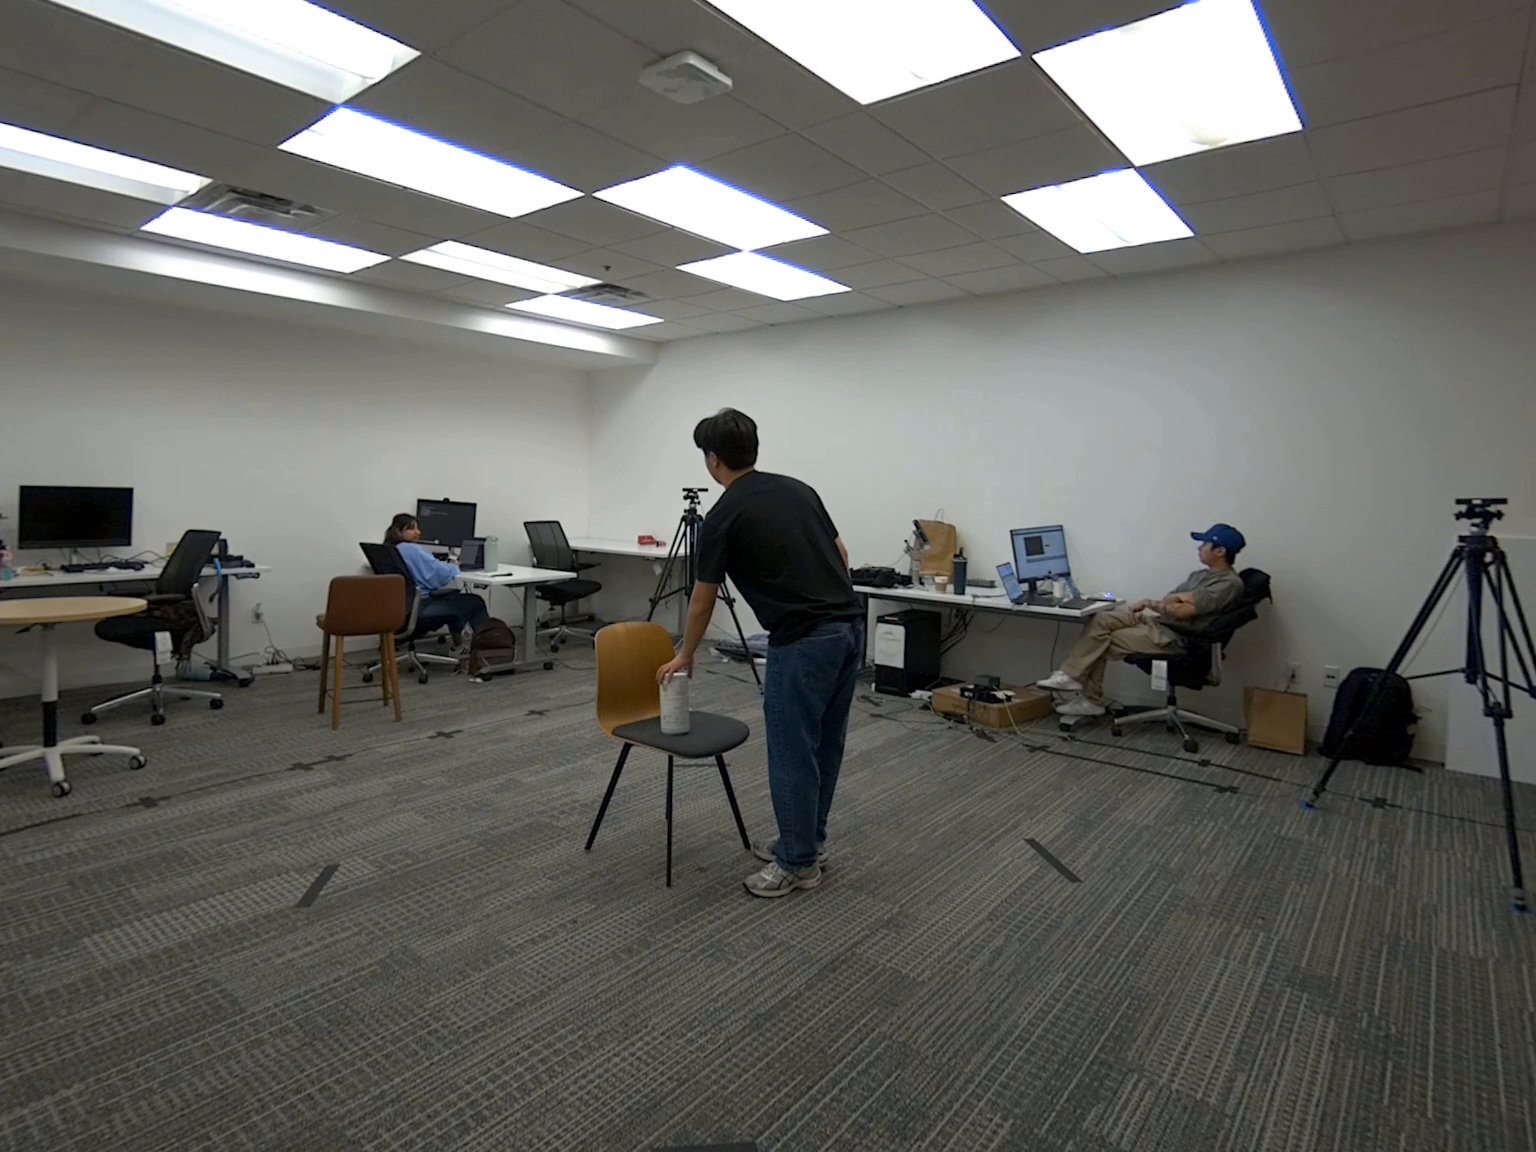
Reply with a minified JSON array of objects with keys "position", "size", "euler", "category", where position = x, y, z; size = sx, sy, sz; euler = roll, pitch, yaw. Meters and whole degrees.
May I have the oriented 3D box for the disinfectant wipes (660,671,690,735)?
[{"position":[-0.366,0.476,3.196],"size":[0.117,0.218,0.118],"euler":[-4,-2,-2],"category":"disinfectant wipes"}]
